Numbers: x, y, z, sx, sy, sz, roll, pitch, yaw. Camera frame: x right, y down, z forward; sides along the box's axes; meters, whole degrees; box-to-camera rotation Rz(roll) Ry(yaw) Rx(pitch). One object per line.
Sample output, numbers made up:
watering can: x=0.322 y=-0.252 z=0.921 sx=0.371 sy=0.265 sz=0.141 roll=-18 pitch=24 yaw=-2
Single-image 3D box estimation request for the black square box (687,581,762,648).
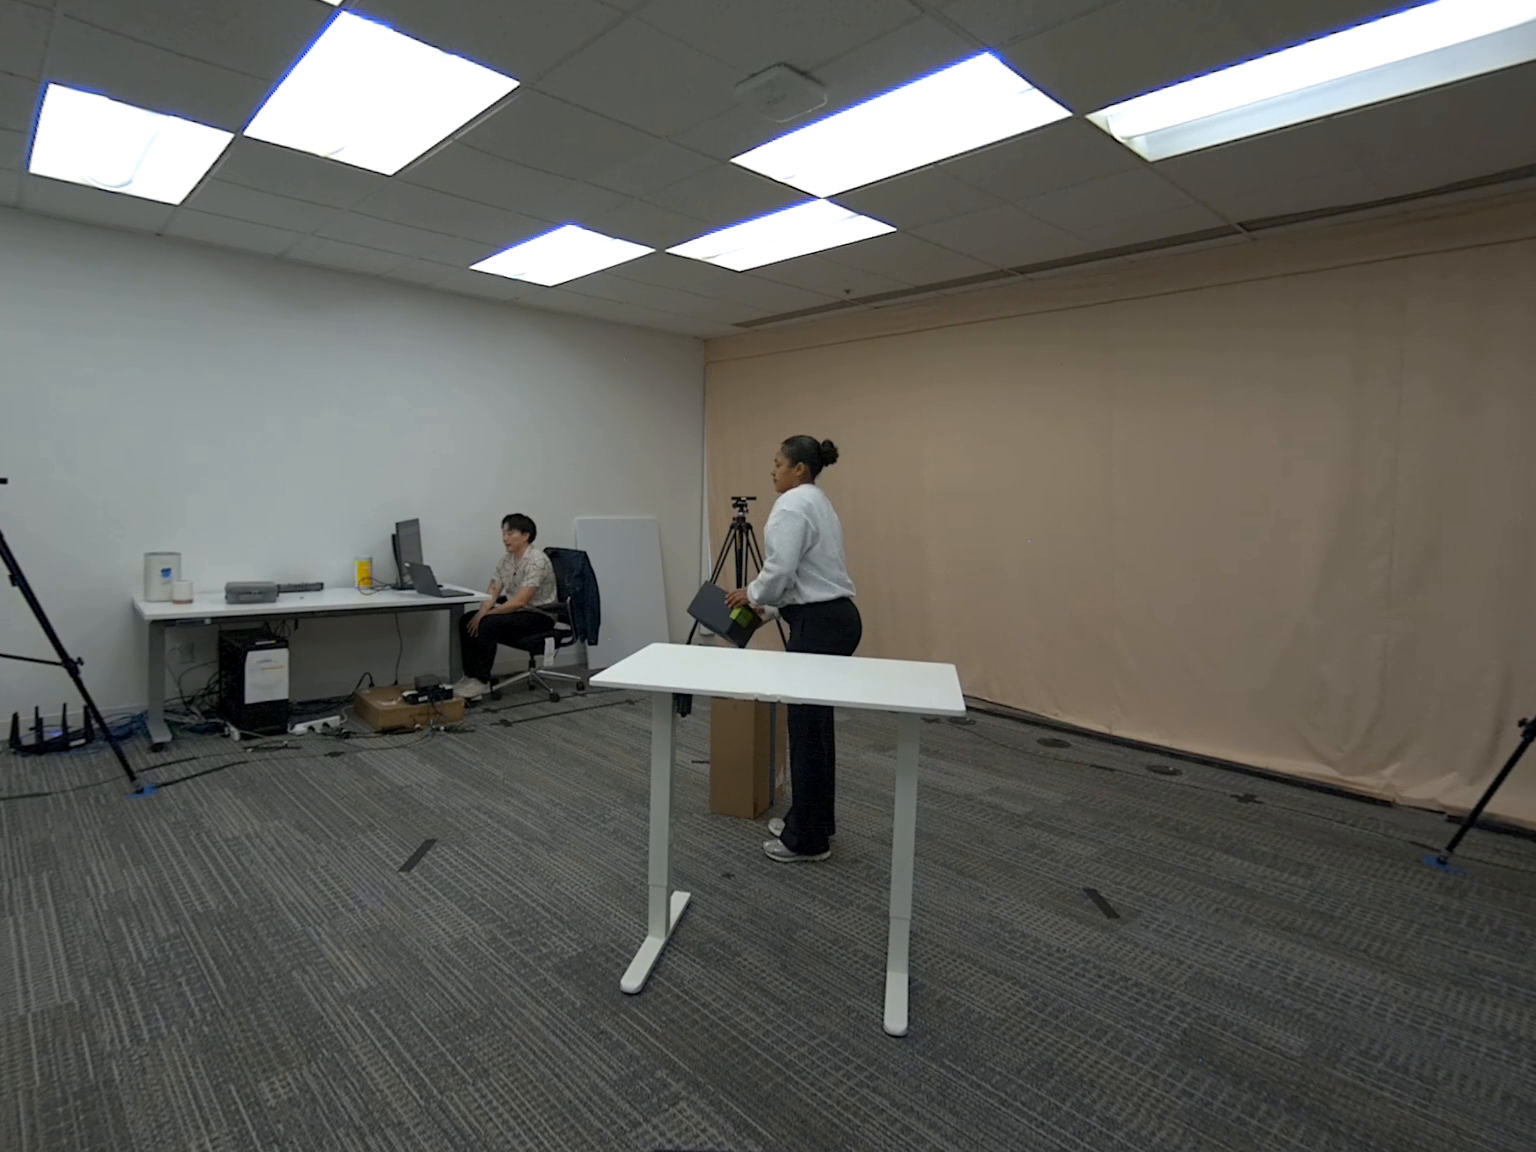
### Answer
black square box: x=-0.180 y=0.163 z=3.538 sx=0.222 sy=0.156 sz=0.221 roll=28 pitch=-11 yaw=27
